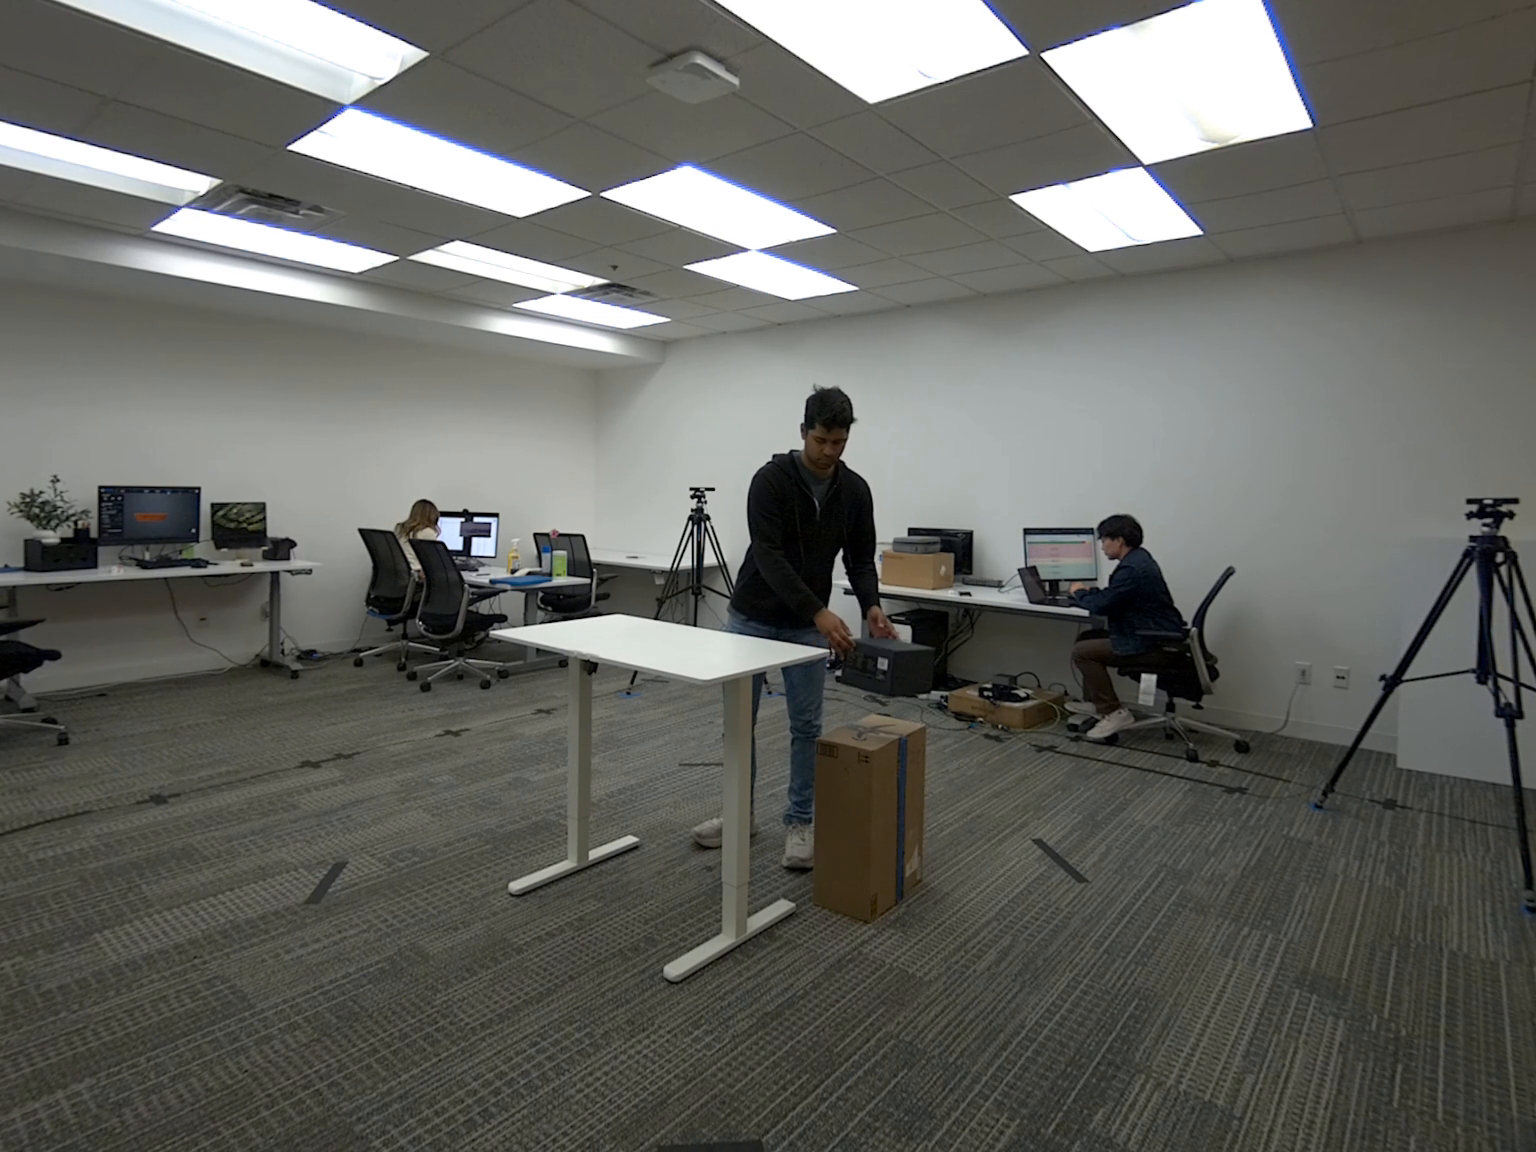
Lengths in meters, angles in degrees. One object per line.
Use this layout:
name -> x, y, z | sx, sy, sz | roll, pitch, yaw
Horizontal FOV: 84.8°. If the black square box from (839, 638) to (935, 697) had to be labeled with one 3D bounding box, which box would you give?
black square box -> 0.394, 0.302, 2.880 | 0.220, 0.155, 0.225 | 2, 5, -42
